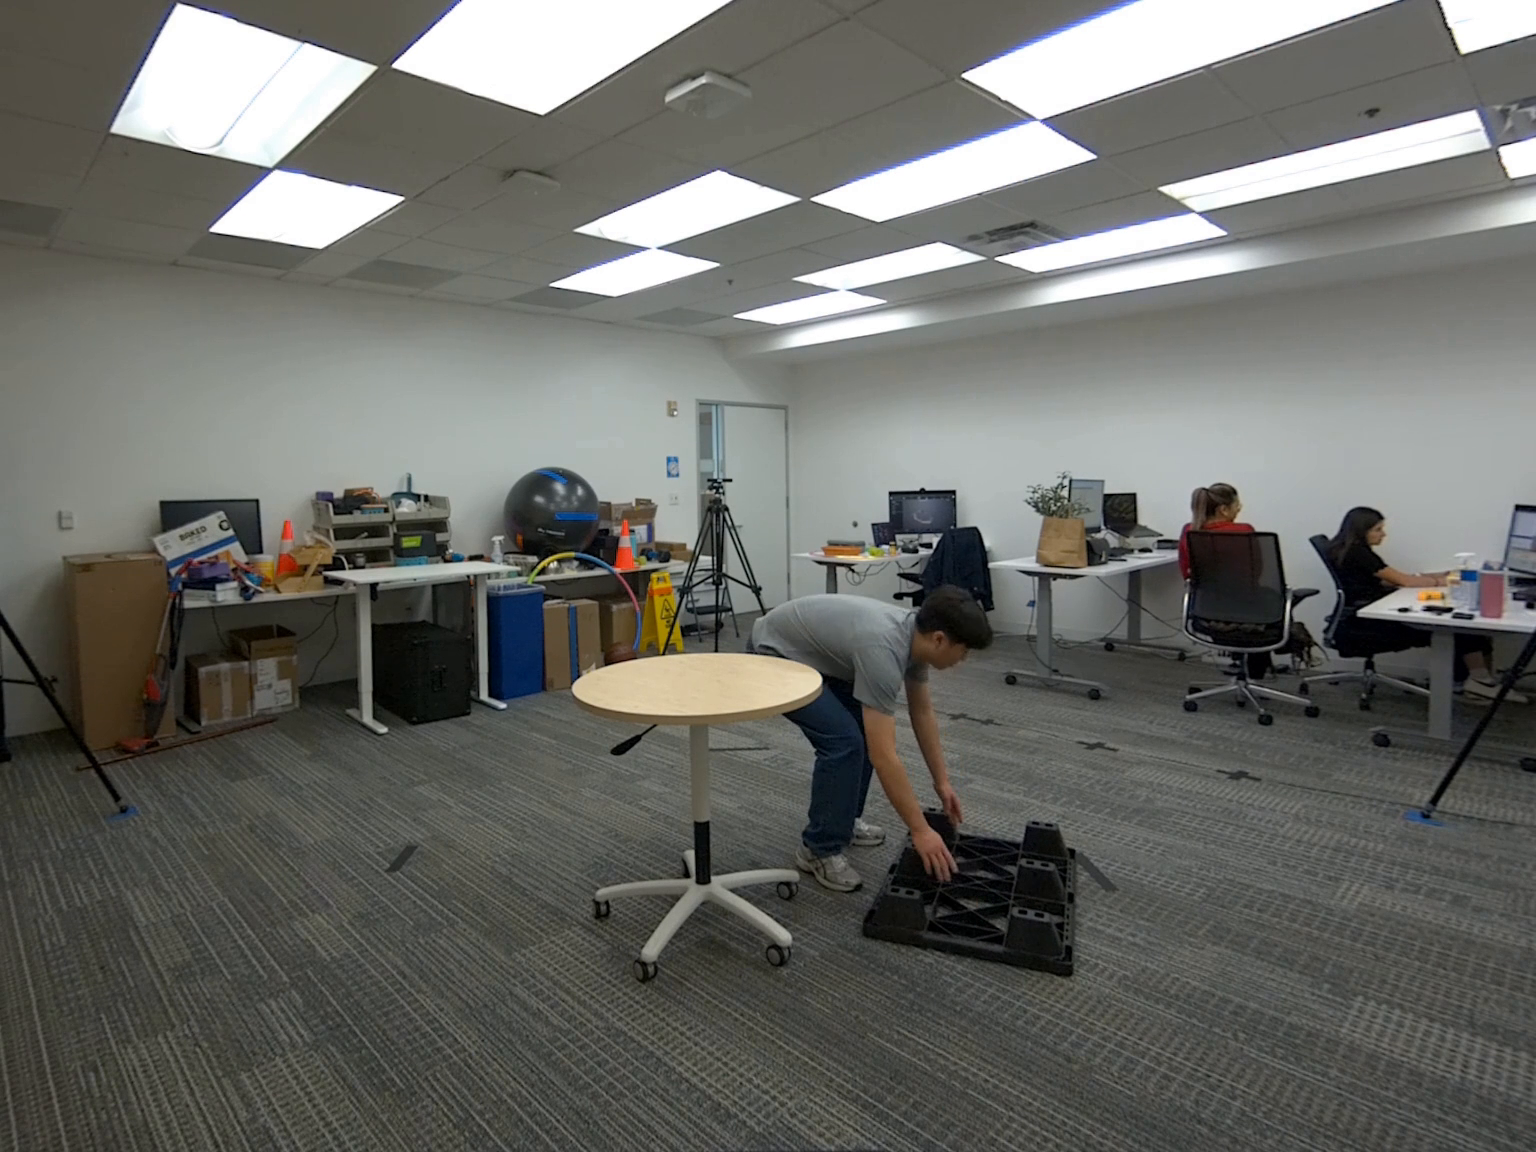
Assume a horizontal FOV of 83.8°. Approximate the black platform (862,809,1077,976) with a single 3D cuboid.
[{"bbox_3d":[0.707,0.997,2.845,0.618,0.142,0.792,2,7,21],"label":"black platform"}]
